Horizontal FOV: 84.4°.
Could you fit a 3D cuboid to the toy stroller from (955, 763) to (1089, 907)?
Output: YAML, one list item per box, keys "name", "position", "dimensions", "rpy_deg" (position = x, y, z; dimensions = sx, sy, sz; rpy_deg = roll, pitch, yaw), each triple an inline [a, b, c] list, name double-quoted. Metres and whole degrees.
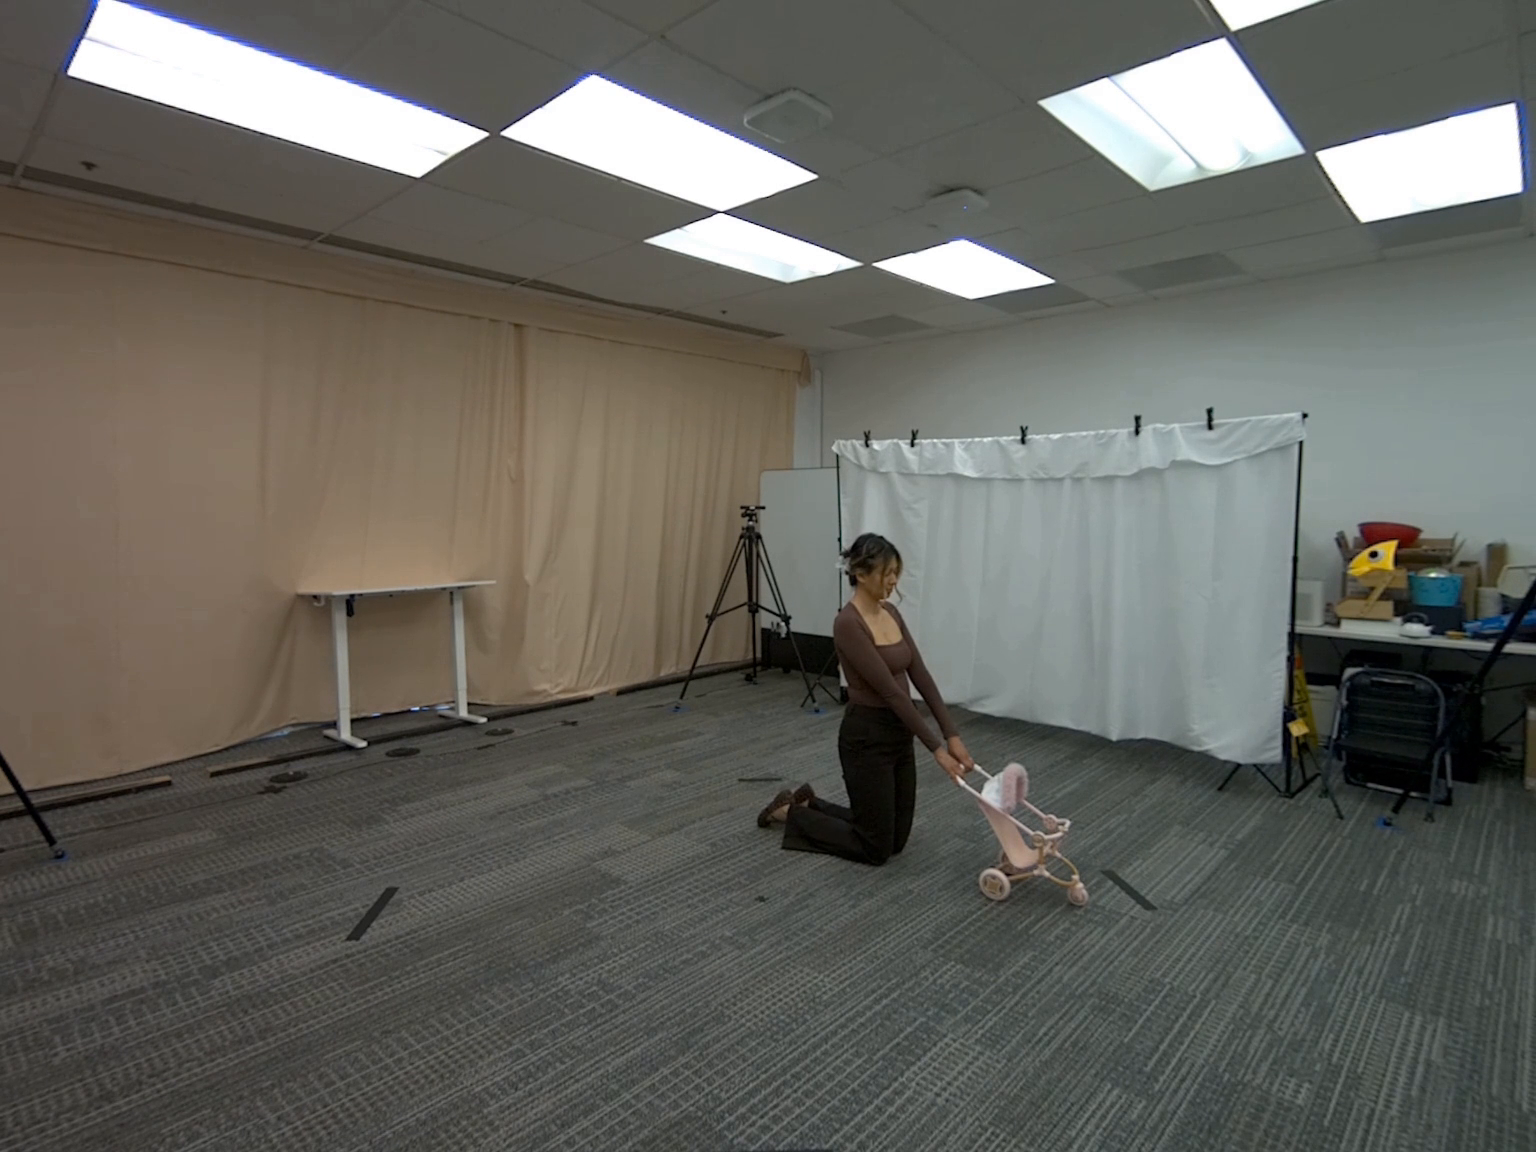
- name: "toy stroller"
  position: [0.918, 0.916, 3.027]
  dimensions: [0.349, 0.539, 0.273]
  rpy_deg: [-20, -10, 37]
